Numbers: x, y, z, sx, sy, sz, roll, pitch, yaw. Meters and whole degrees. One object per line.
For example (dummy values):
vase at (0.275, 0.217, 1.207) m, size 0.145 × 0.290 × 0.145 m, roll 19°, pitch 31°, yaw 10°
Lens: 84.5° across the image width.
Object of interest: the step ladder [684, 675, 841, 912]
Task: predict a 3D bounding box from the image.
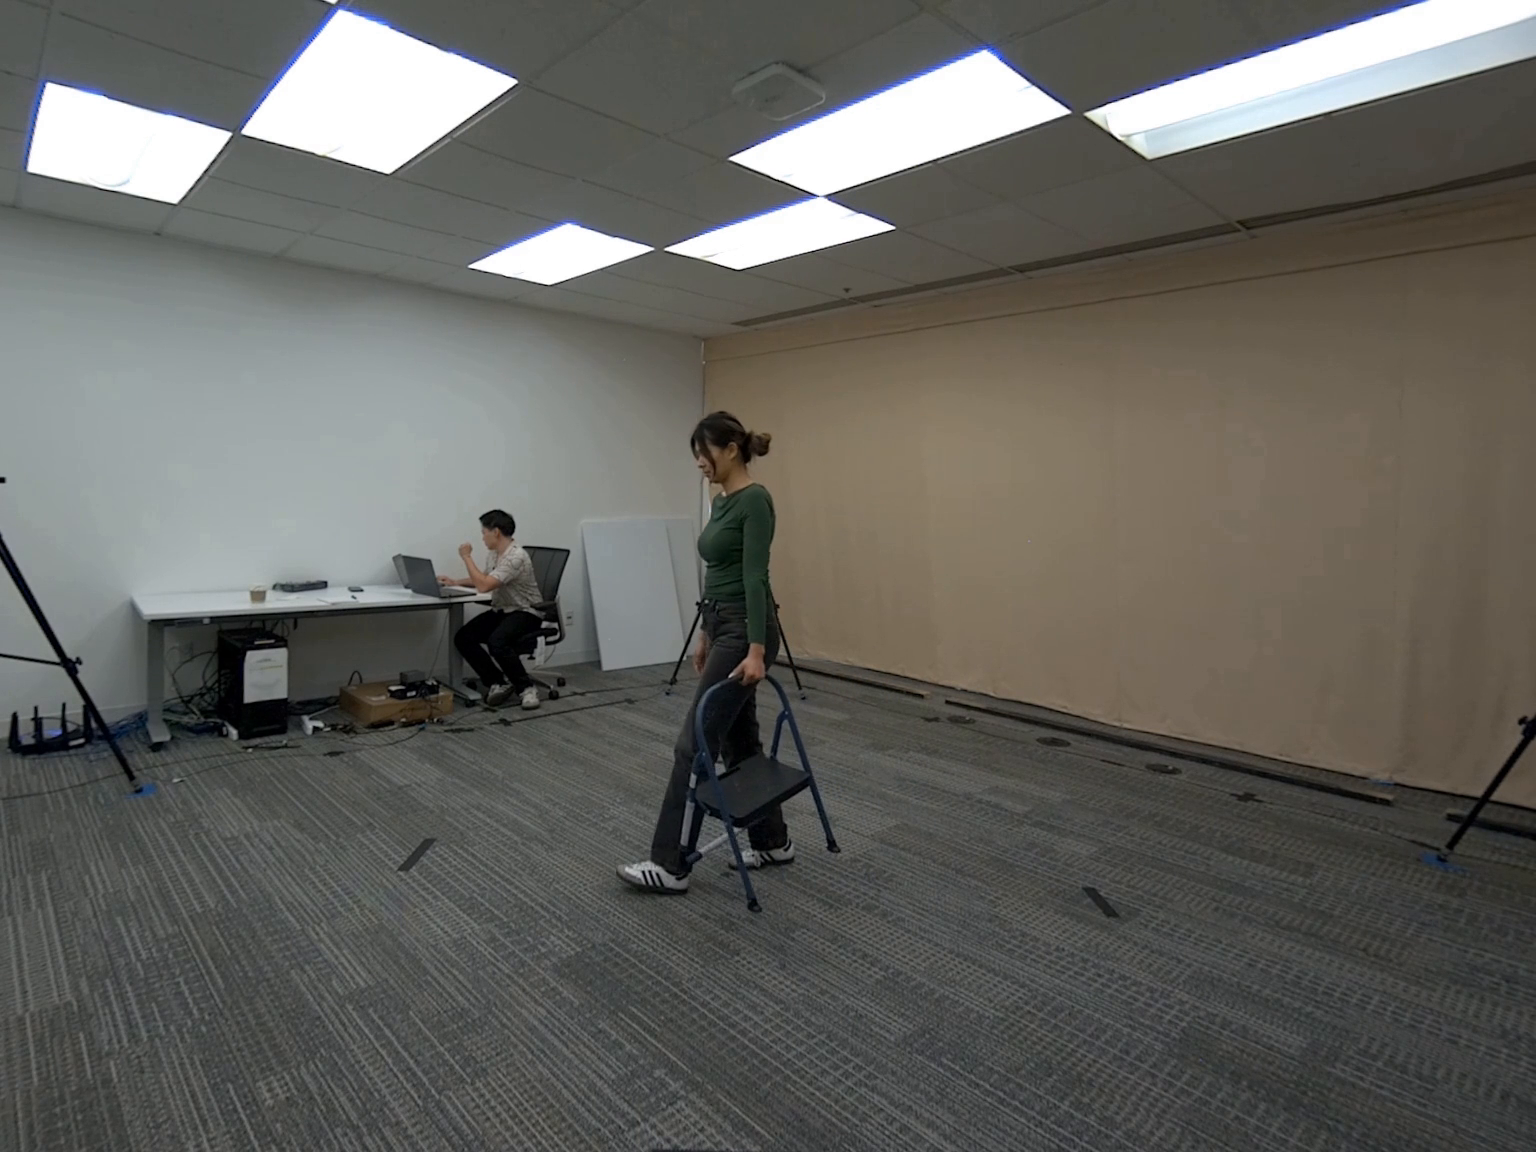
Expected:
step ladder at (-0.042, 0.629, 2.658) m, size 0.358 × 0.601 × 0.423 m, roll 7°, pitch 14°, yaw 39°
